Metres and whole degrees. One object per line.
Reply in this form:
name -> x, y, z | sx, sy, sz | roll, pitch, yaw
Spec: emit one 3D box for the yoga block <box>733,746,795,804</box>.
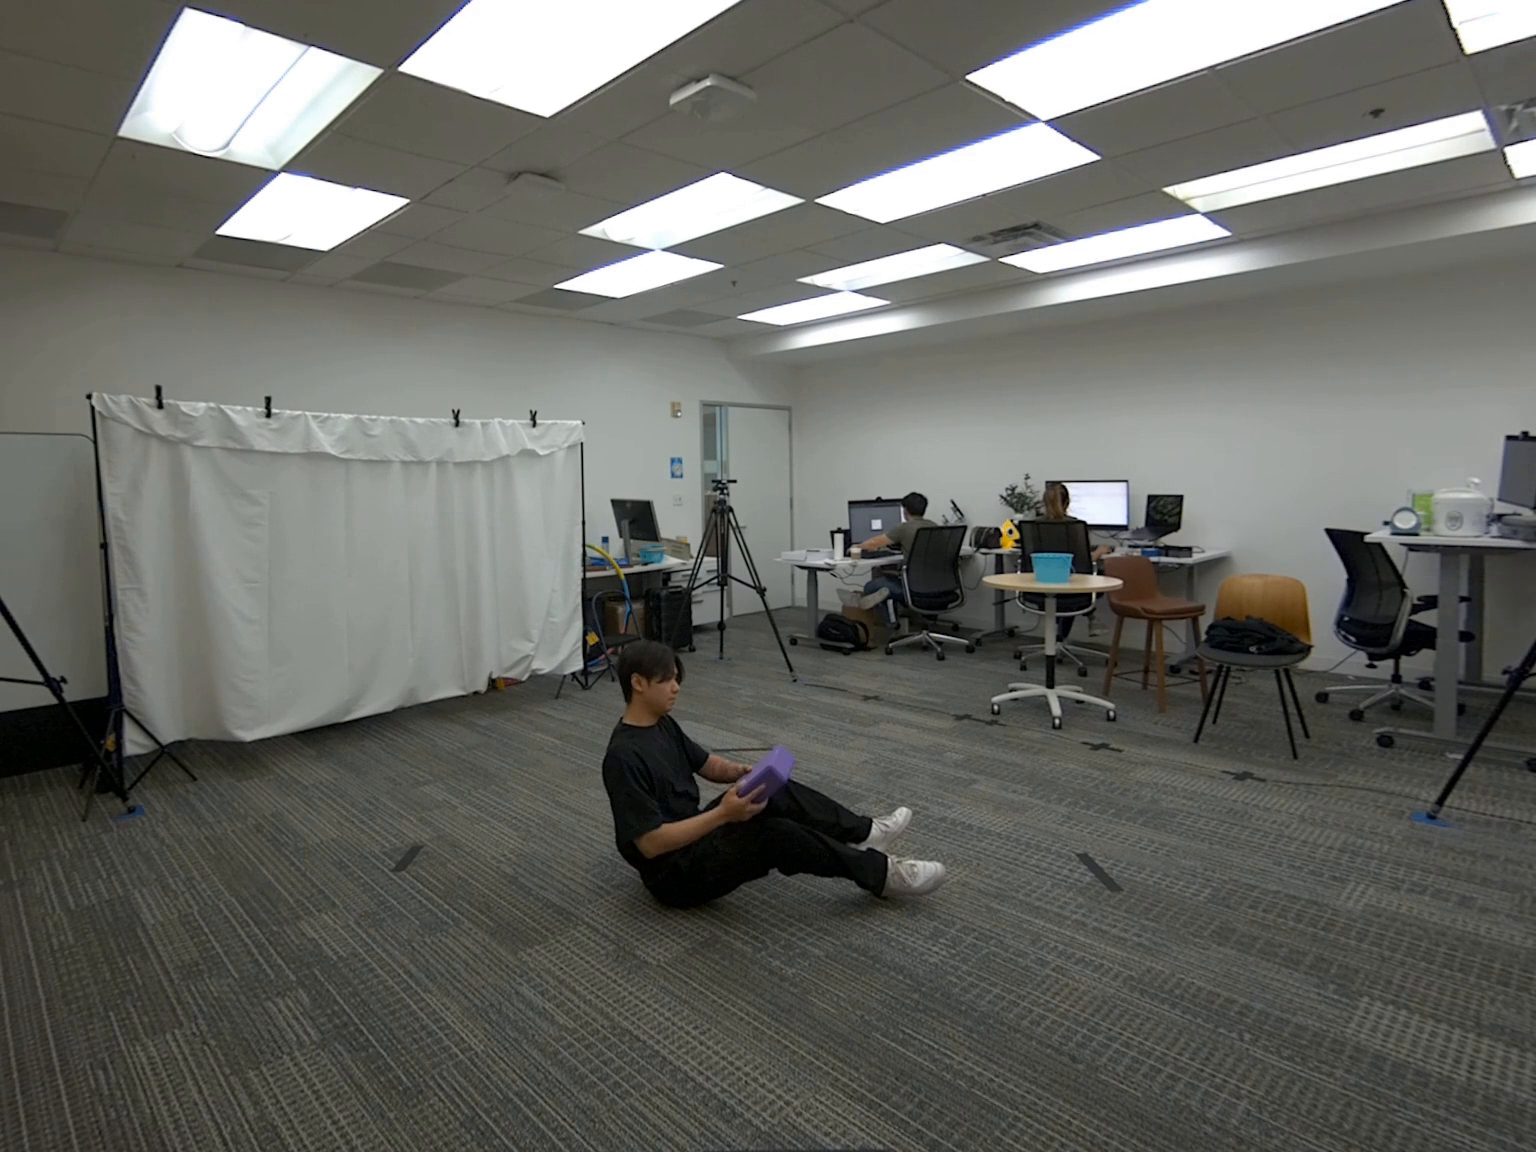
yoga block -> -0.028, 0.657, 2.723 | 0.229, 0.076, 0.149 | -45, 1, 20
